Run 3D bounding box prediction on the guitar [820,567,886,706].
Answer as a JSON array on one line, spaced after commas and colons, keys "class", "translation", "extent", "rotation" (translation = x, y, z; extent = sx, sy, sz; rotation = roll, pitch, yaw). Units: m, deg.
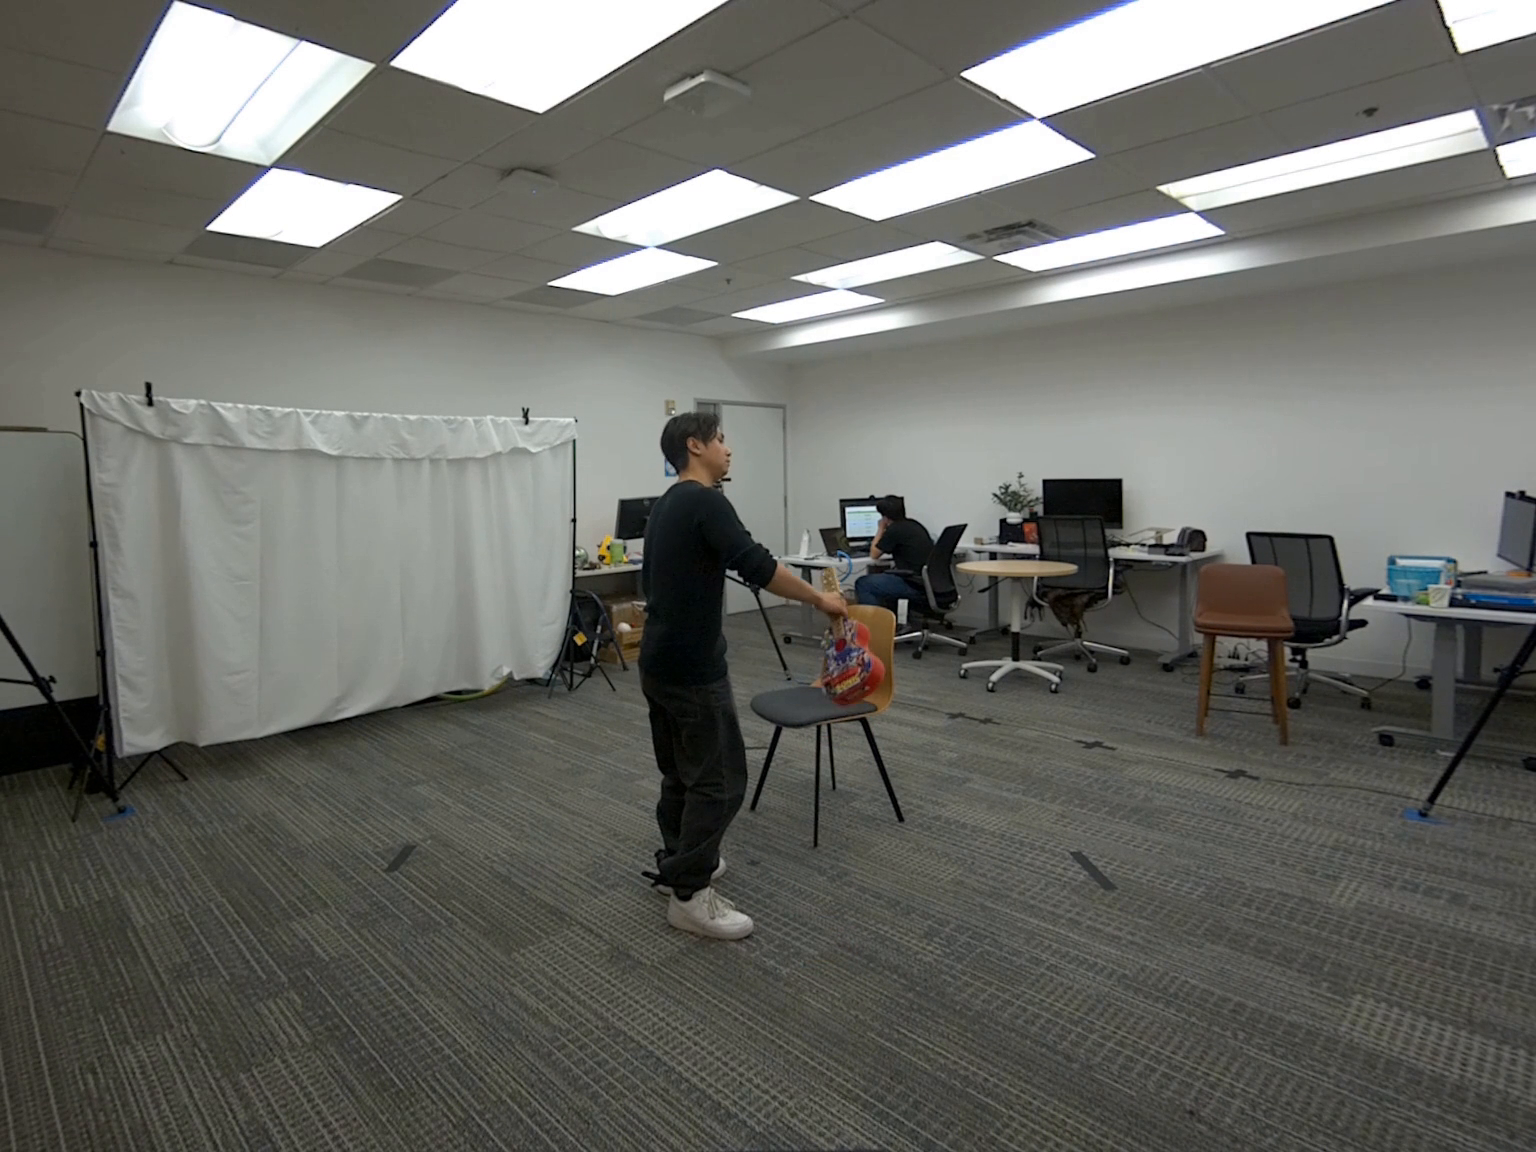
[{"class": "guitar", "translation": [0.256, 0.147, 2.658], "extent": [0.195, 0.510, 0.068], "rotation": [-29, -49, 34]}]
